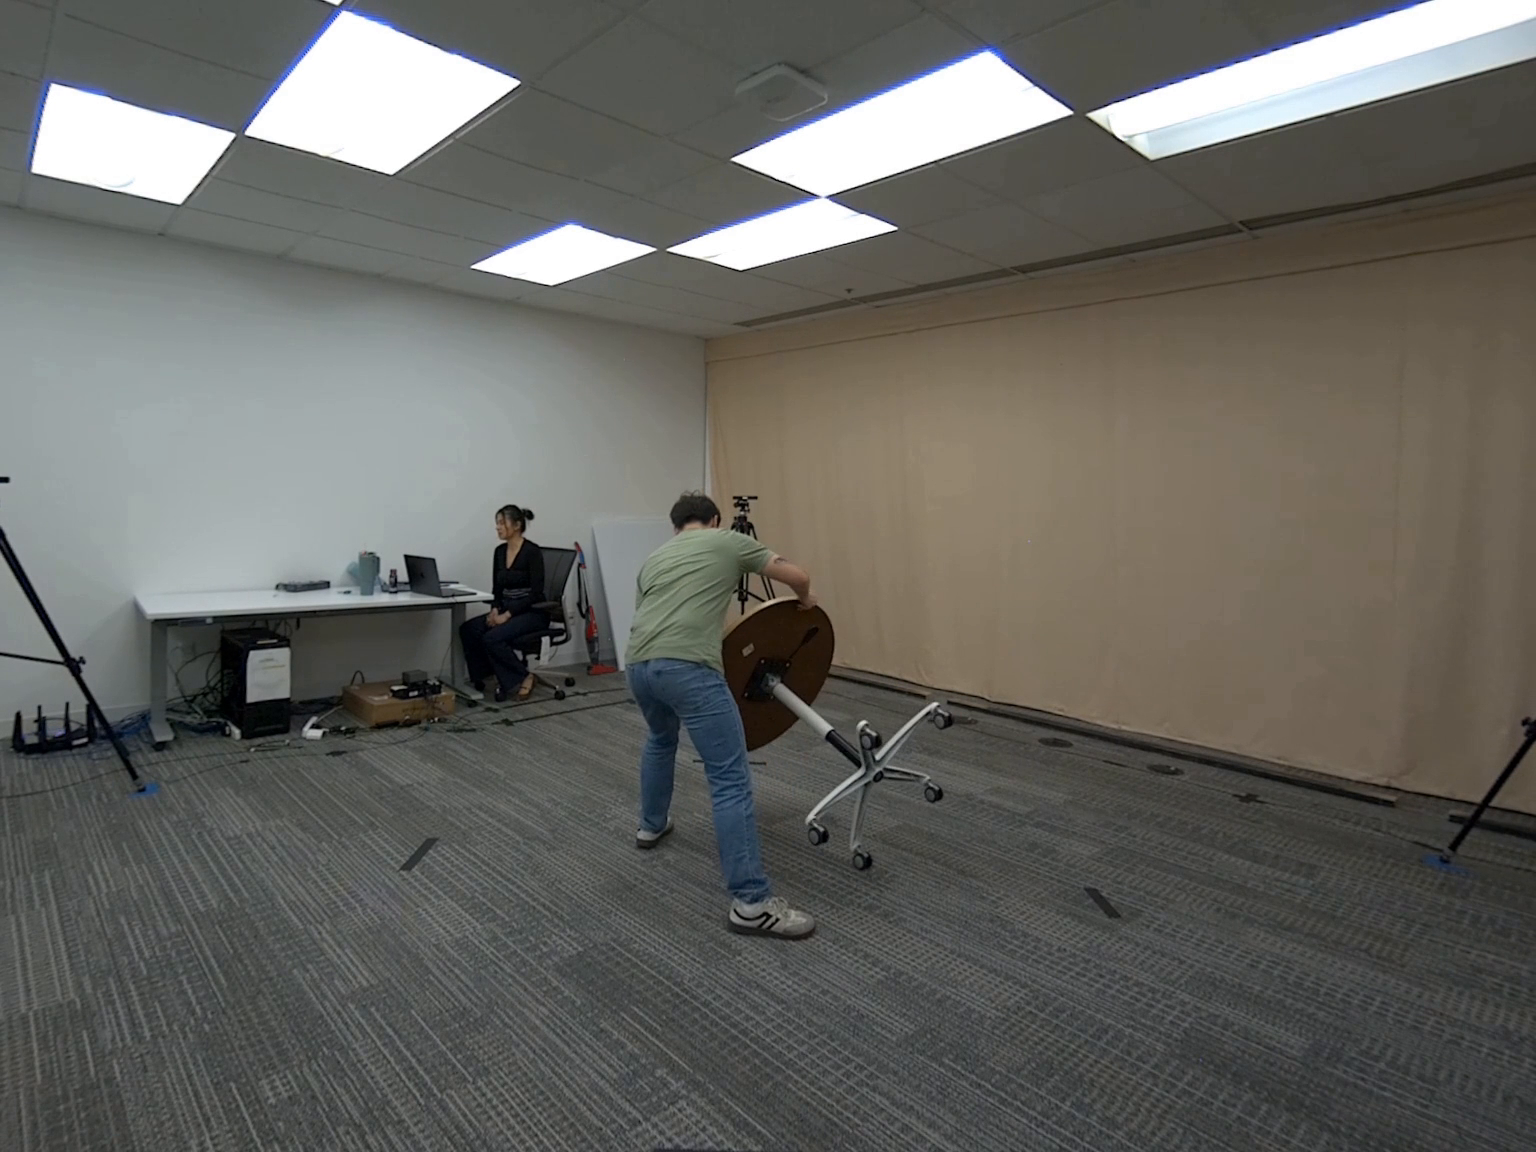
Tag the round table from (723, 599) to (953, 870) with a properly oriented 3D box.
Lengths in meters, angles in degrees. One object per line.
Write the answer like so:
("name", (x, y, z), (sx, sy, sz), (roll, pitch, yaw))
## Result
("round table", (0.215, 0.603, 3.314), (0.747, 0.756, 0.820), (-2, 27, -40))
